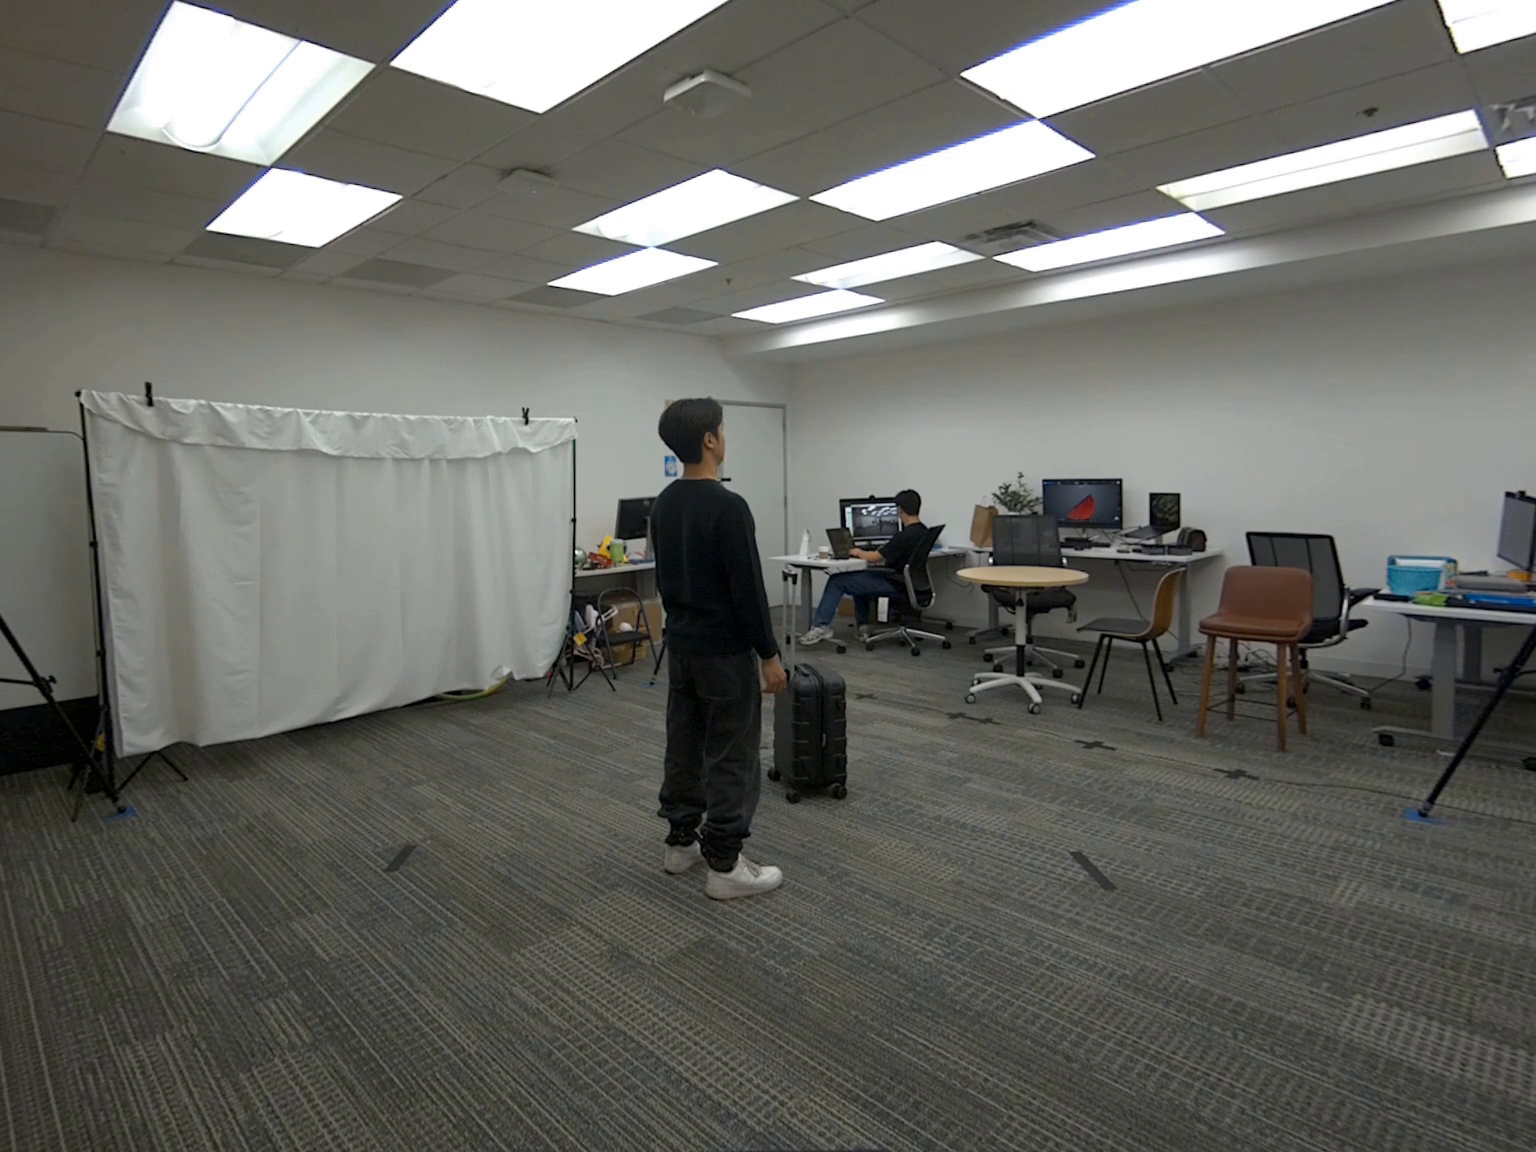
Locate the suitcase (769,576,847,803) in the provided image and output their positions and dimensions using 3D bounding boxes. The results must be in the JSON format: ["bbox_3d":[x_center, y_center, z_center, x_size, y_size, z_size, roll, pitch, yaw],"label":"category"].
[{"bbox_3d":[0.192,0.482,3.839,0.254,0.976,0.389,0,3,-13],"label":"suitcase"}]
